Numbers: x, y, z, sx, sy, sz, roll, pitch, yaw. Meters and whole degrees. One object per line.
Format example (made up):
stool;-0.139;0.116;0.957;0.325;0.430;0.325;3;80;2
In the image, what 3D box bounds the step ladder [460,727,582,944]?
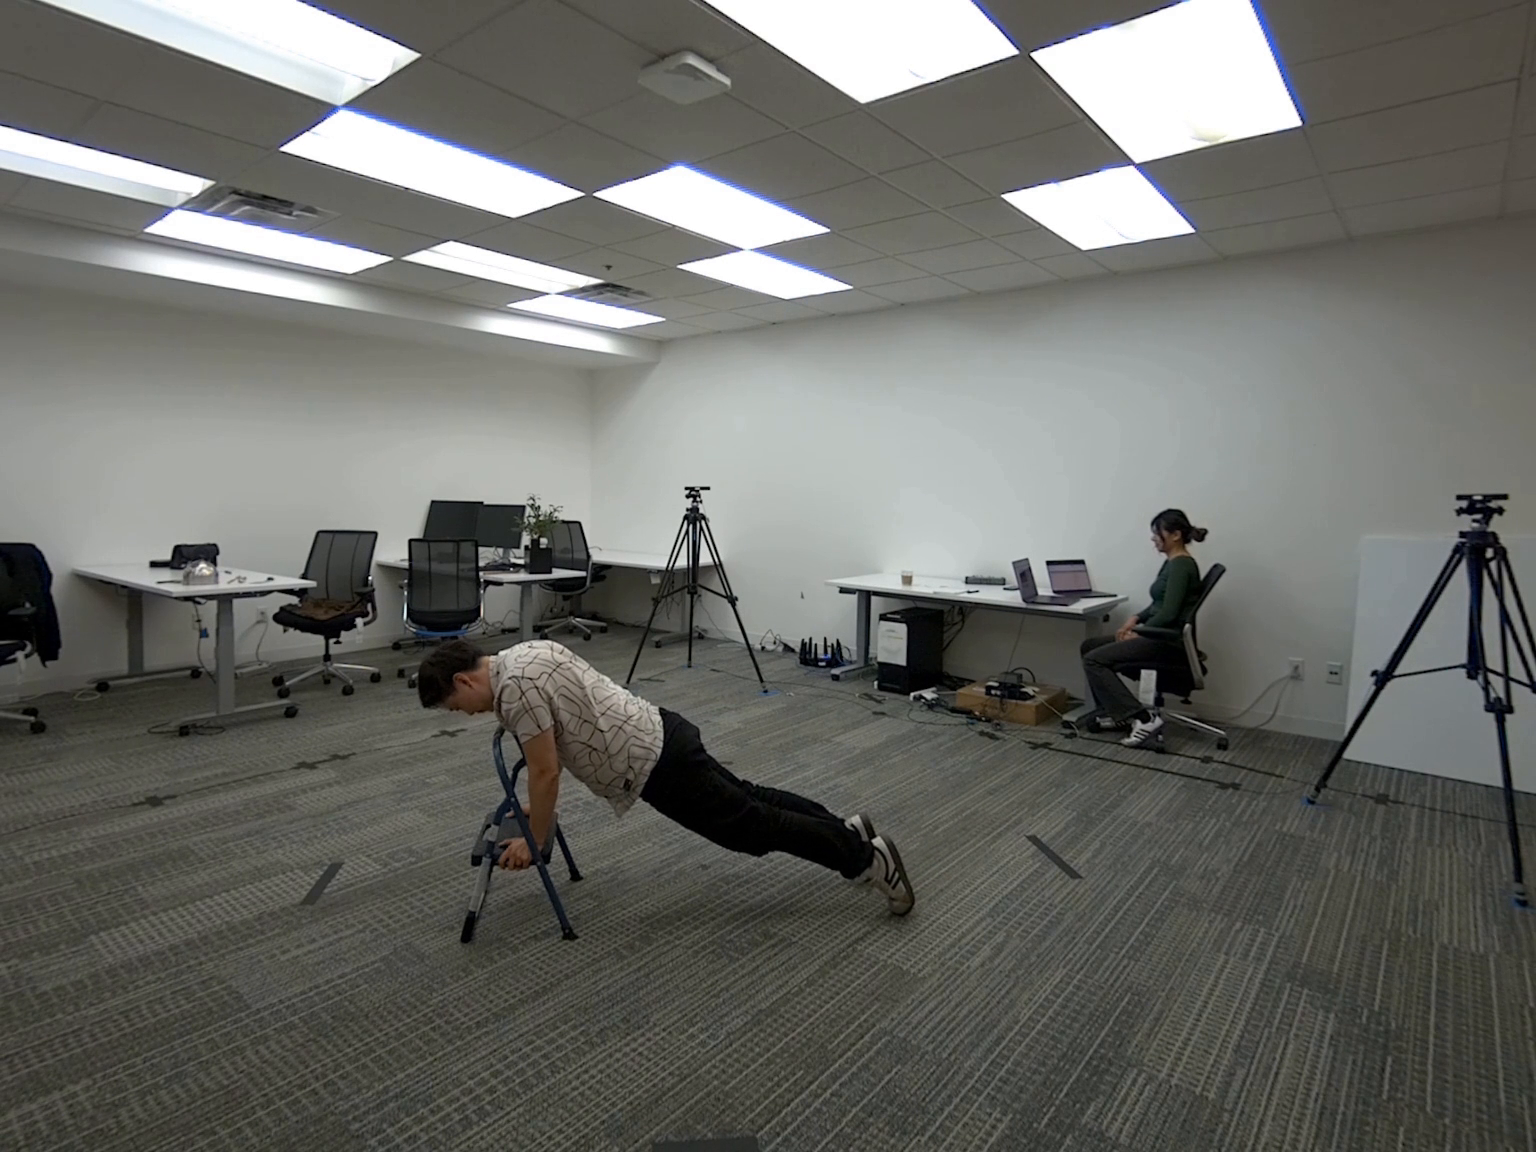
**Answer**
step ladder;-0.804;0.793;2.783;0.346;0.605;0.436;1;3;-9
